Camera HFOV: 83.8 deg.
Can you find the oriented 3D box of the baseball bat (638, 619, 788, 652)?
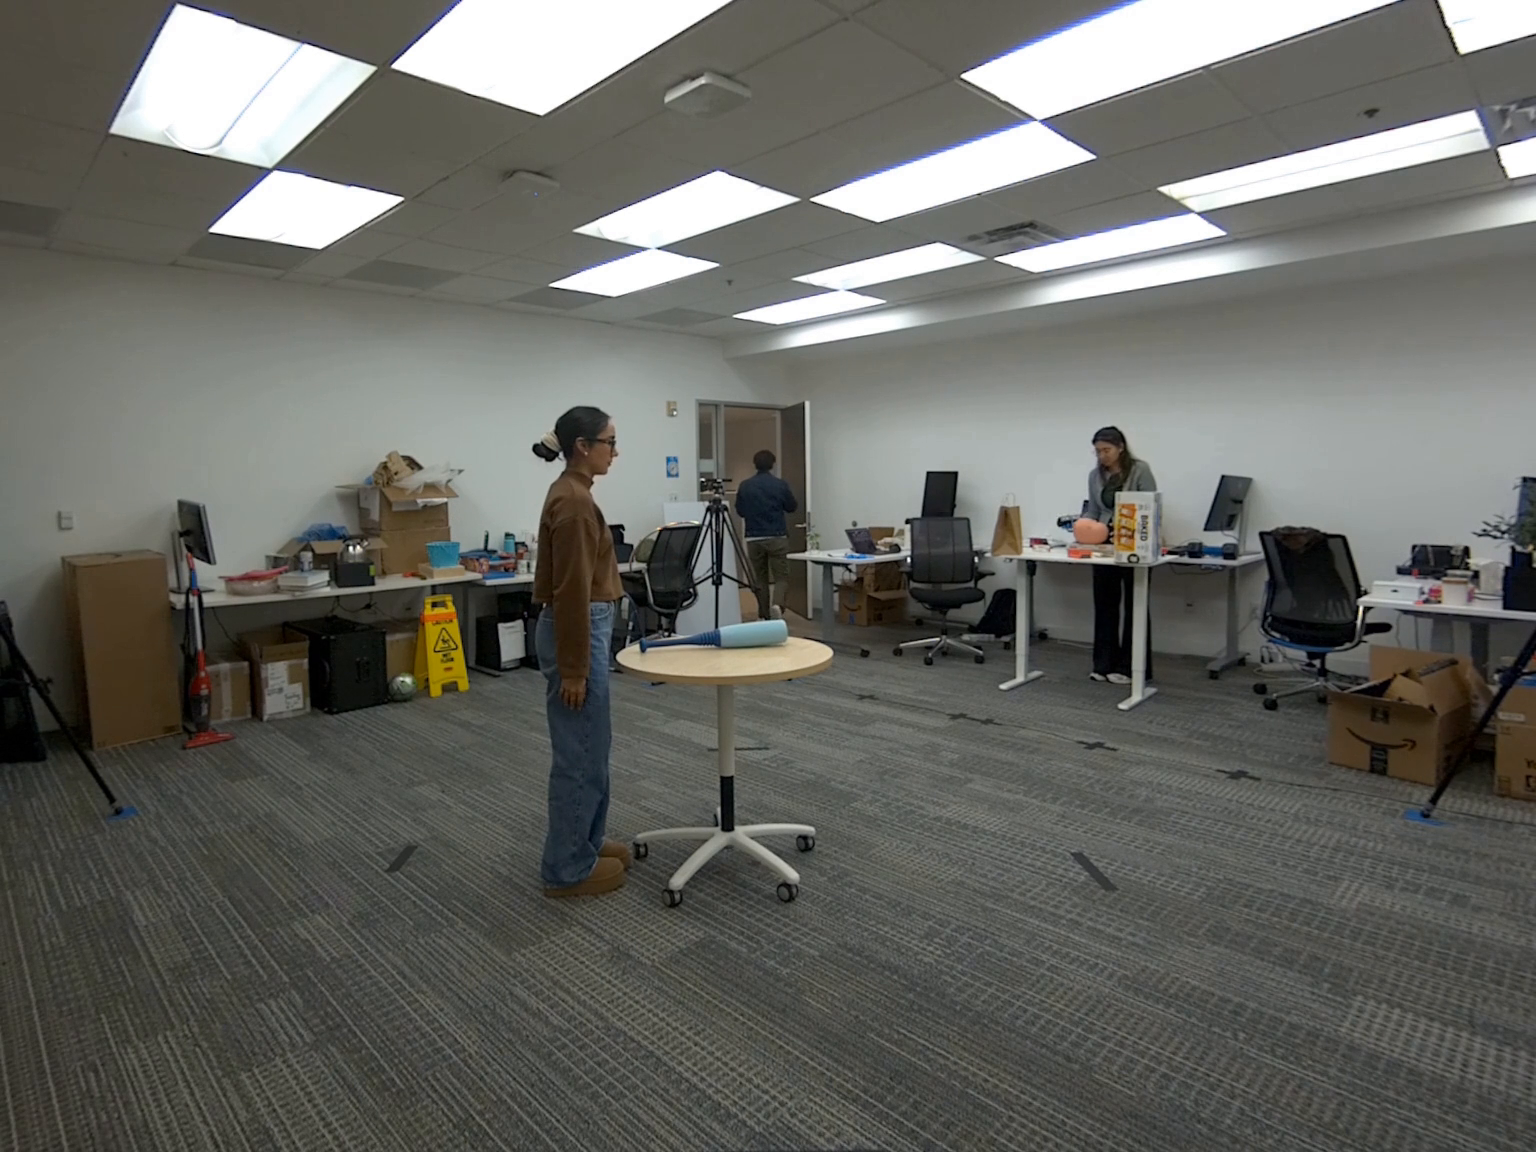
[{"bbox_3d":[-0.199,0.231,3.104,0.539,0.088,0.090,-5,5,-9],"label":"baseball bat"}]
